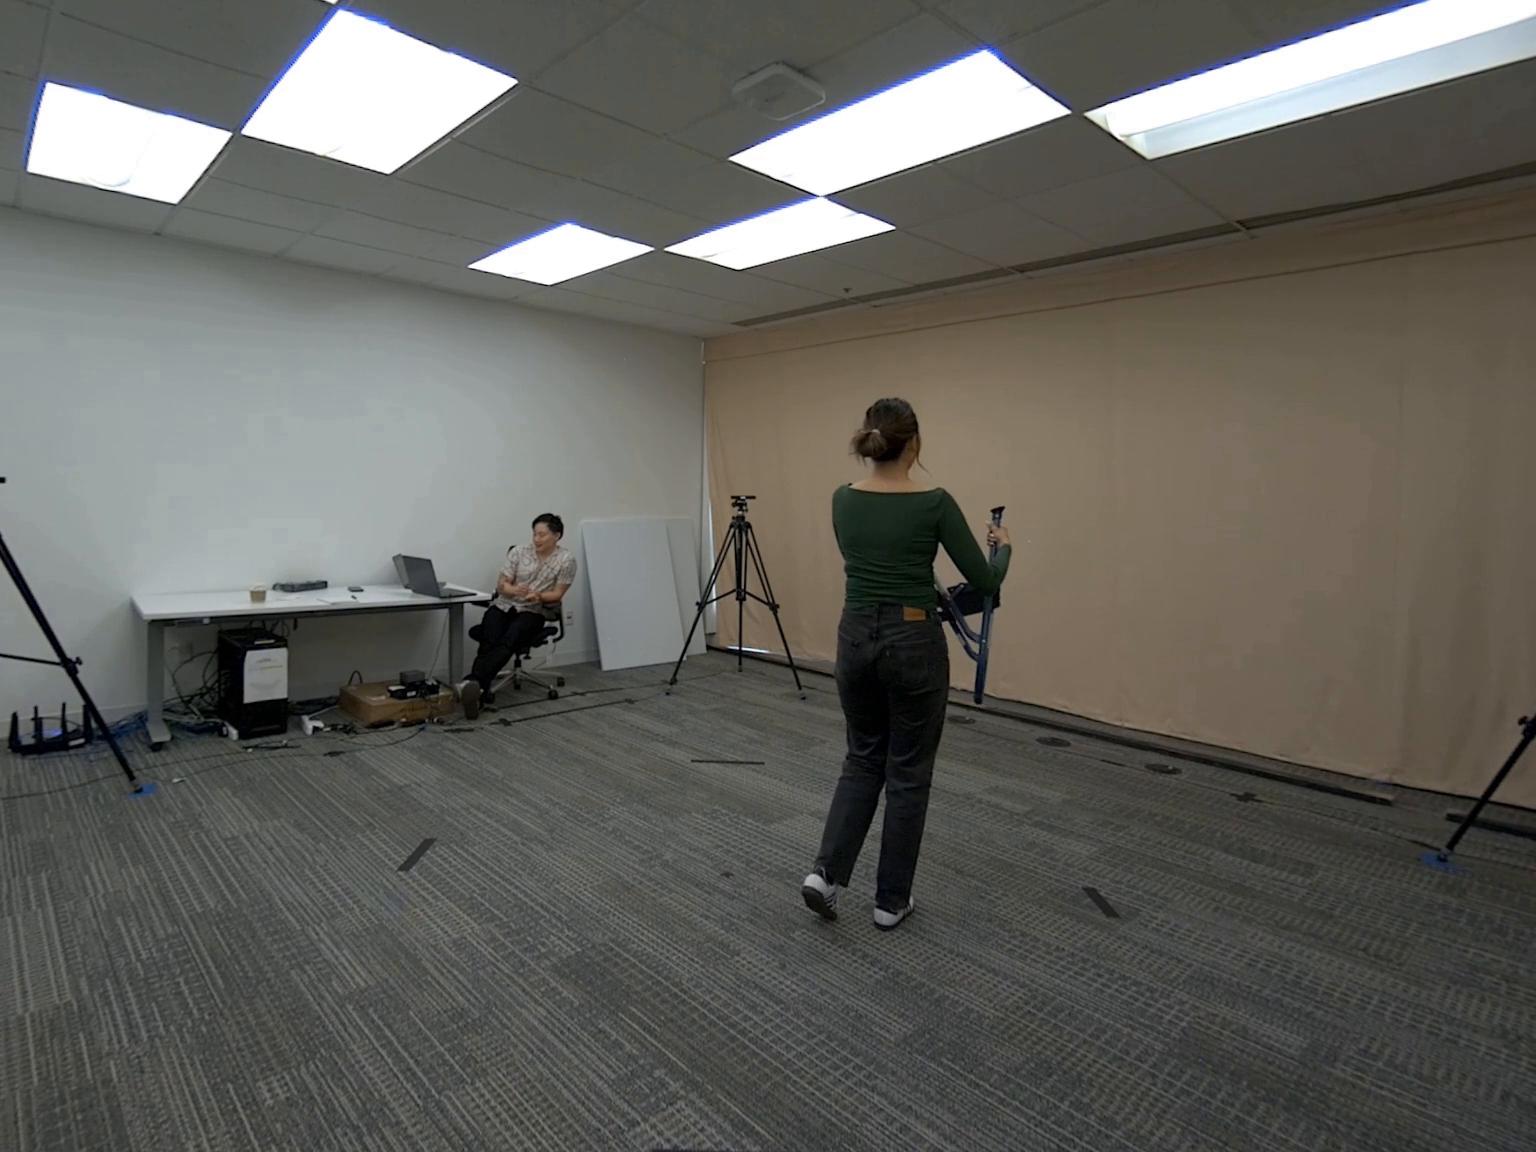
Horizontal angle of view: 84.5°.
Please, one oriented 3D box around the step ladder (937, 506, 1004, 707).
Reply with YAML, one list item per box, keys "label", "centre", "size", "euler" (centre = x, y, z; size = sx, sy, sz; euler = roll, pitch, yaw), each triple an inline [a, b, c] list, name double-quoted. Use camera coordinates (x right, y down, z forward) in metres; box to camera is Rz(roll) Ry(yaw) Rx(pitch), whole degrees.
- label: "step ladder"
  centre: [0.739, 0.138, 3.035]
  size: [0.352, 0.617, 0.420]
  euler: [-16, -21, 12]
